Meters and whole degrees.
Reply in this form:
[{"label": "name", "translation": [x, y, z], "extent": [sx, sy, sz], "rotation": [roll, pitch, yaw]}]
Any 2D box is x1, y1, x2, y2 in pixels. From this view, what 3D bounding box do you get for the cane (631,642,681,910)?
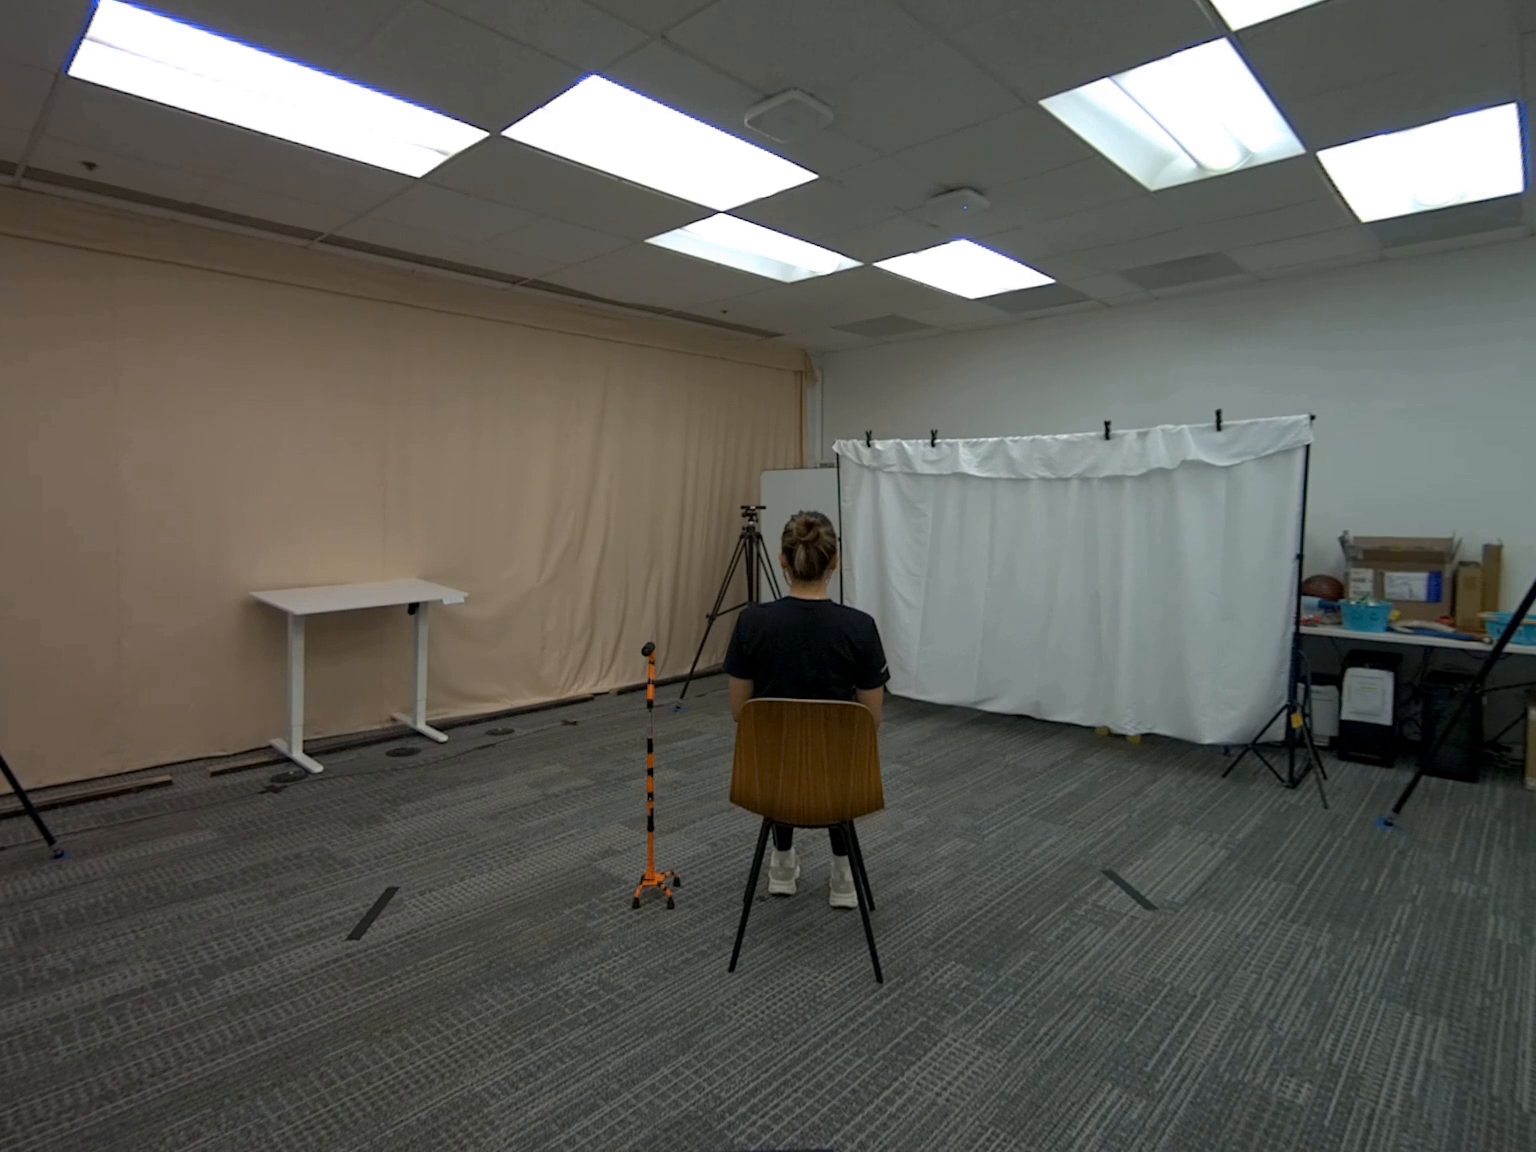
[{"label": "cane", "translation": [-0.402, 0.693, 2.993], "extent": [0.152, 0.907, 0.206], "rotation": [0, 2, 0]}]
